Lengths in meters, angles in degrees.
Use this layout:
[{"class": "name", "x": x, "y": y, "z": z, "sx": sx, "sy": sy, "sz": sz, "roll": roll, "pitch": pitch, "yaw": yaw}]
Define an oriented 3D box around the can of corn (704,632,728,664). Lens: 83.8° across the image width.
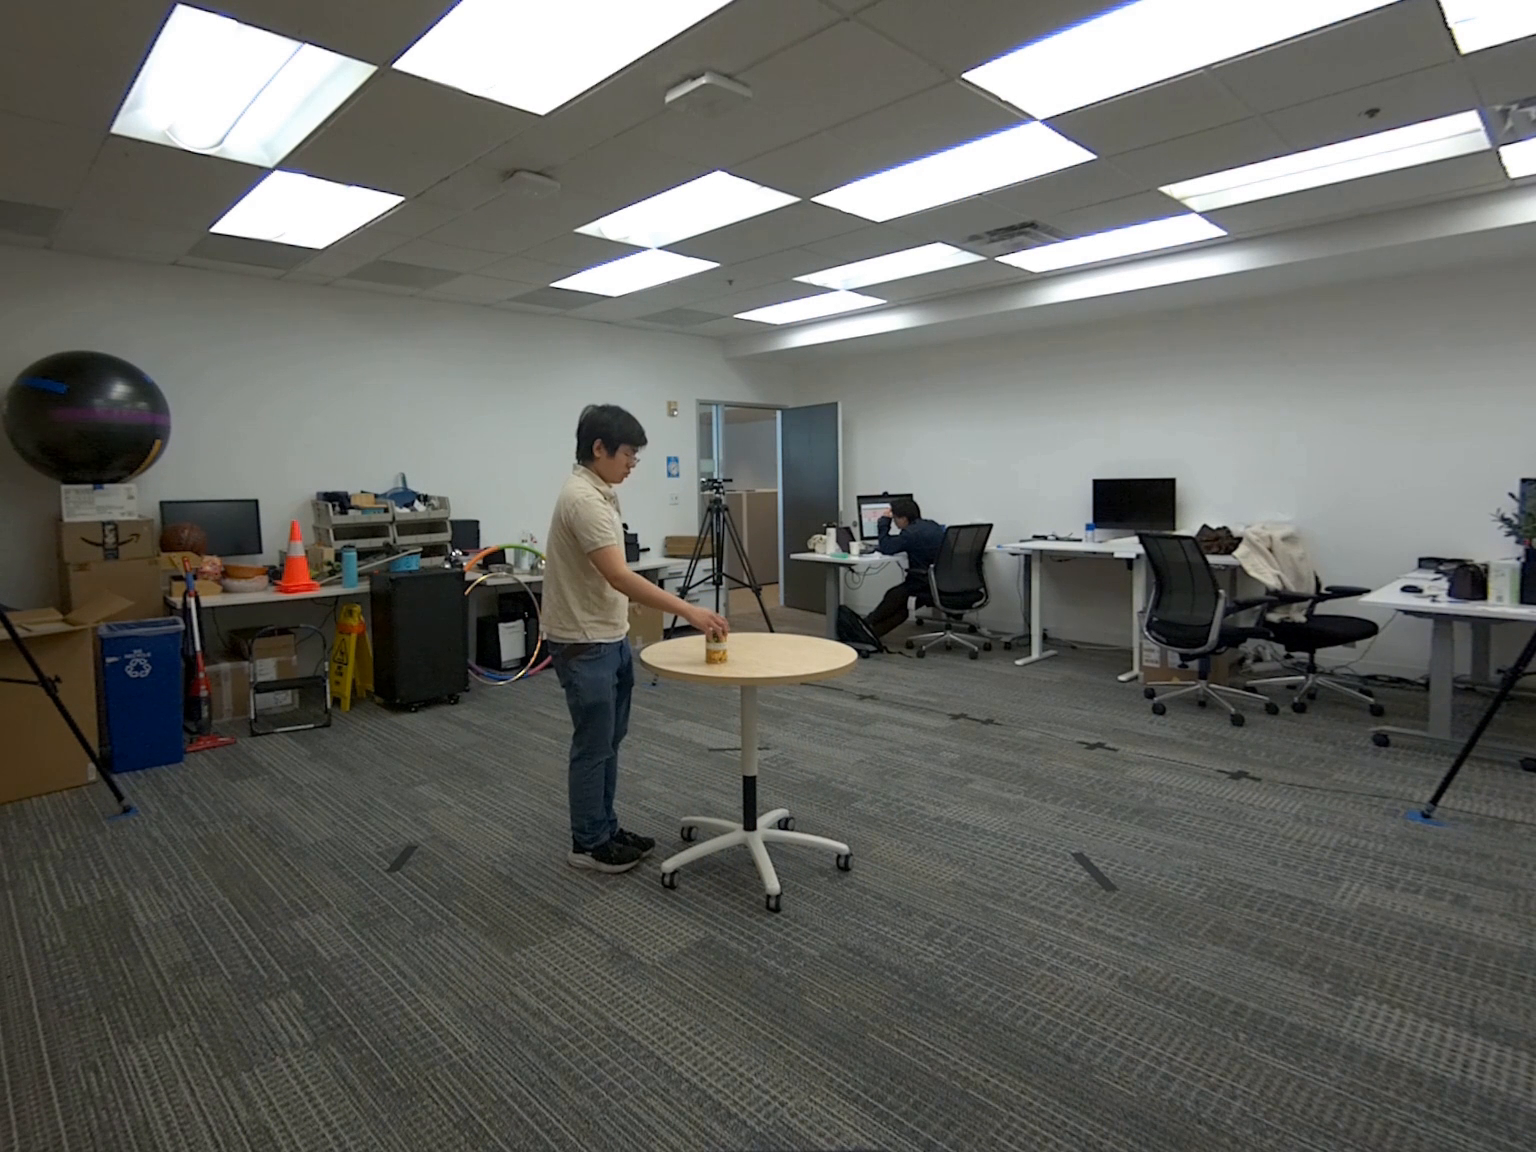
[{"class": "can of corn", "x": -0.167, "y": 0.233, "z": 2.867, "sx": 0.074, "sy": 0.110, "sz": 0.075, "roll": 0, "pitch": 6, "yaw": -2}]
